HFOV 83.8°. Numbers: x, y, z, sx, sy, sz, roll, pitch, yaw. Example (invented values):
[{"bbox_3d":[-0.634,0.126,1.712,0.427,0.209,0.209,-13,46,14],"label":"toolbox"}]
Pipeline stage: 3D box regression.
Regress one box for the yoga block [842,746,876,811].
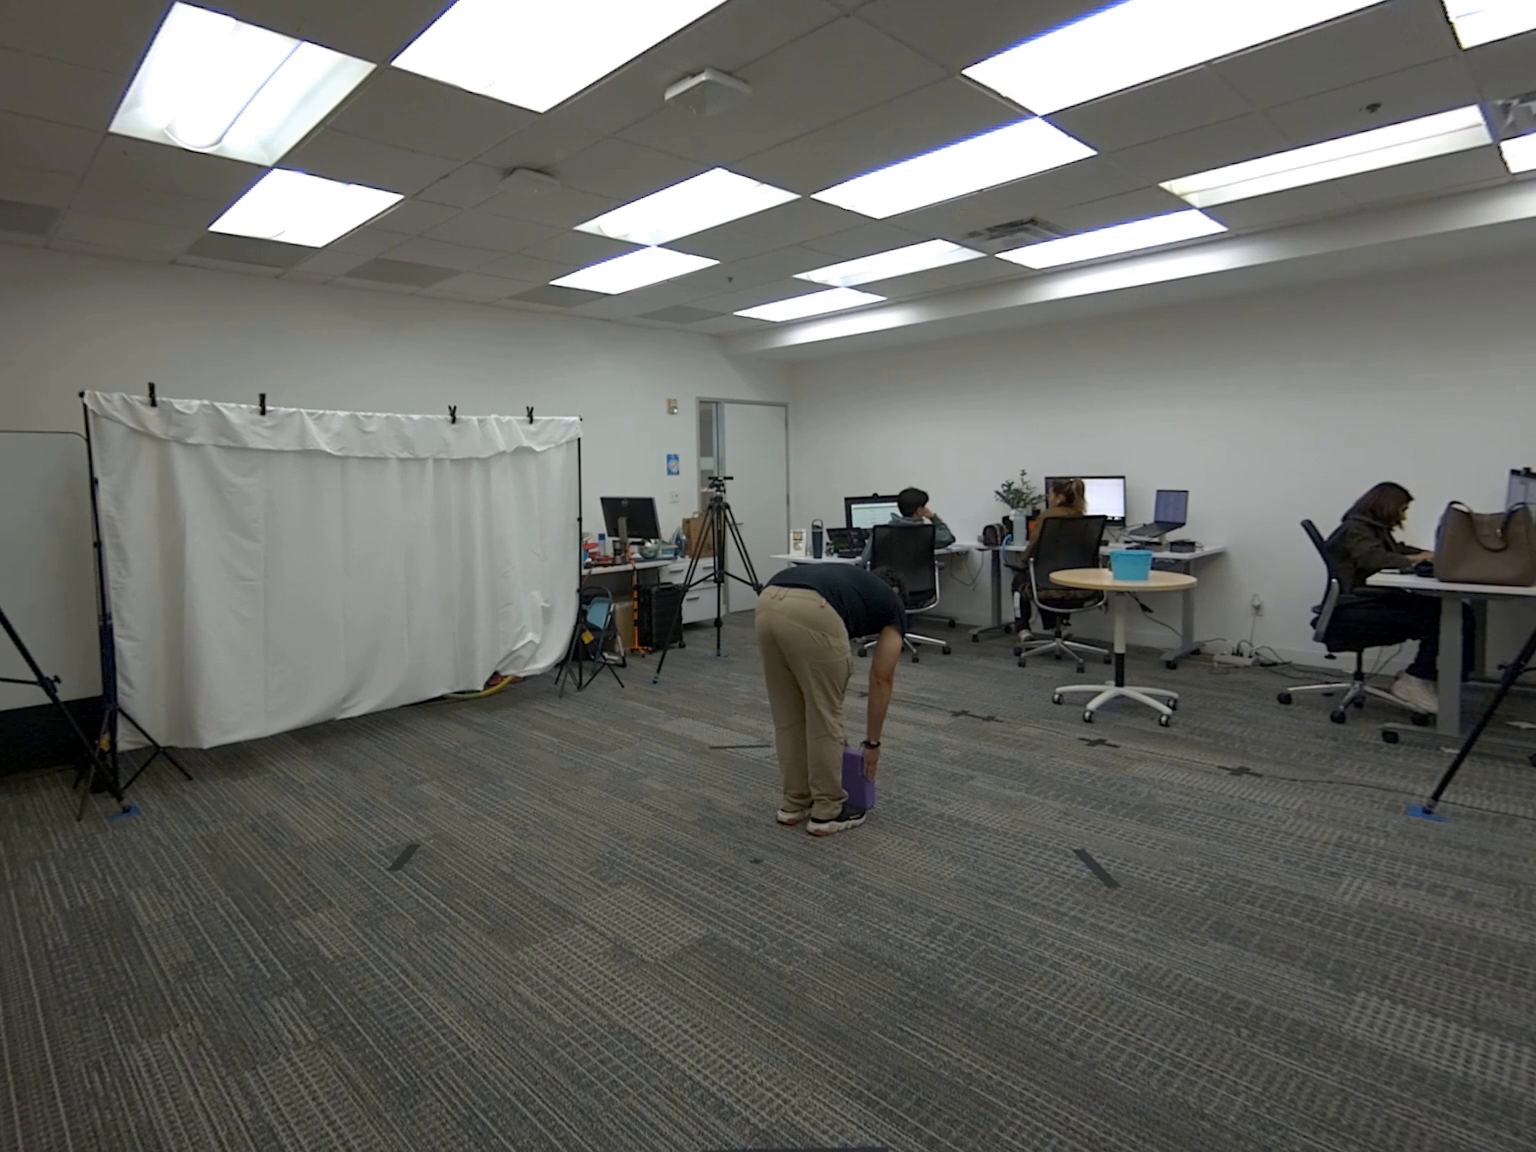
[{"bbox_3d":[0.374,0.857,3.618,0.074,0.228,0.153,-4,5,-42],"label":"yoga block"}]
